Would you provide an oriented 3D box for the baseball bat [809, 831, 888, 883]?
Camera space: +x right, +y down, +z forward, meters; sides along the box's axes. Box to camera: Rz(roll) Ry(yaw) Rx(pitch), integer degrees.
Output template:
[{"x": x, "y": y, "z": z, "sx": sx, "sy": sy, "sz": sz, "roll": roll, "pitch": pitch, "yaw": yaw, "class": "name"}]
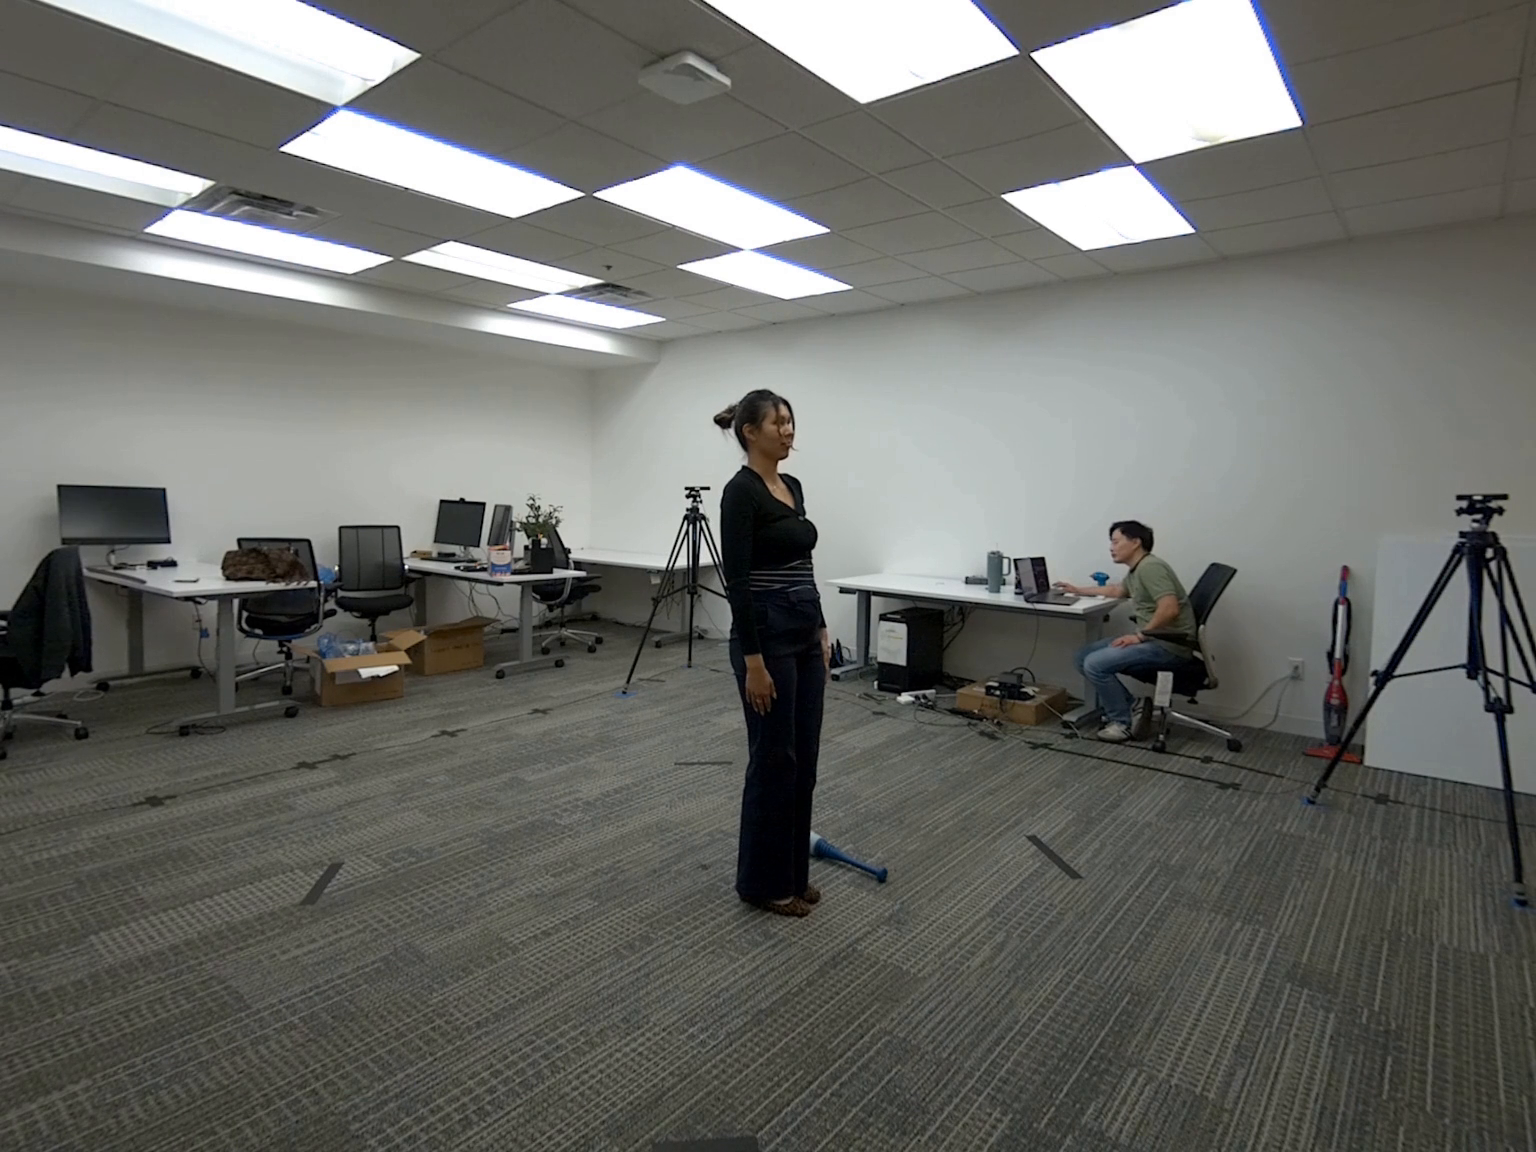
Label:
[{"x": 0.203, "y": 1.028, "z": 3.208, "sx": 0.563, "sy": 0.088, "sz": 0.086, "roll": 10, "pitch": 10, "yaw": 42, "class": "baseball bat"}]
